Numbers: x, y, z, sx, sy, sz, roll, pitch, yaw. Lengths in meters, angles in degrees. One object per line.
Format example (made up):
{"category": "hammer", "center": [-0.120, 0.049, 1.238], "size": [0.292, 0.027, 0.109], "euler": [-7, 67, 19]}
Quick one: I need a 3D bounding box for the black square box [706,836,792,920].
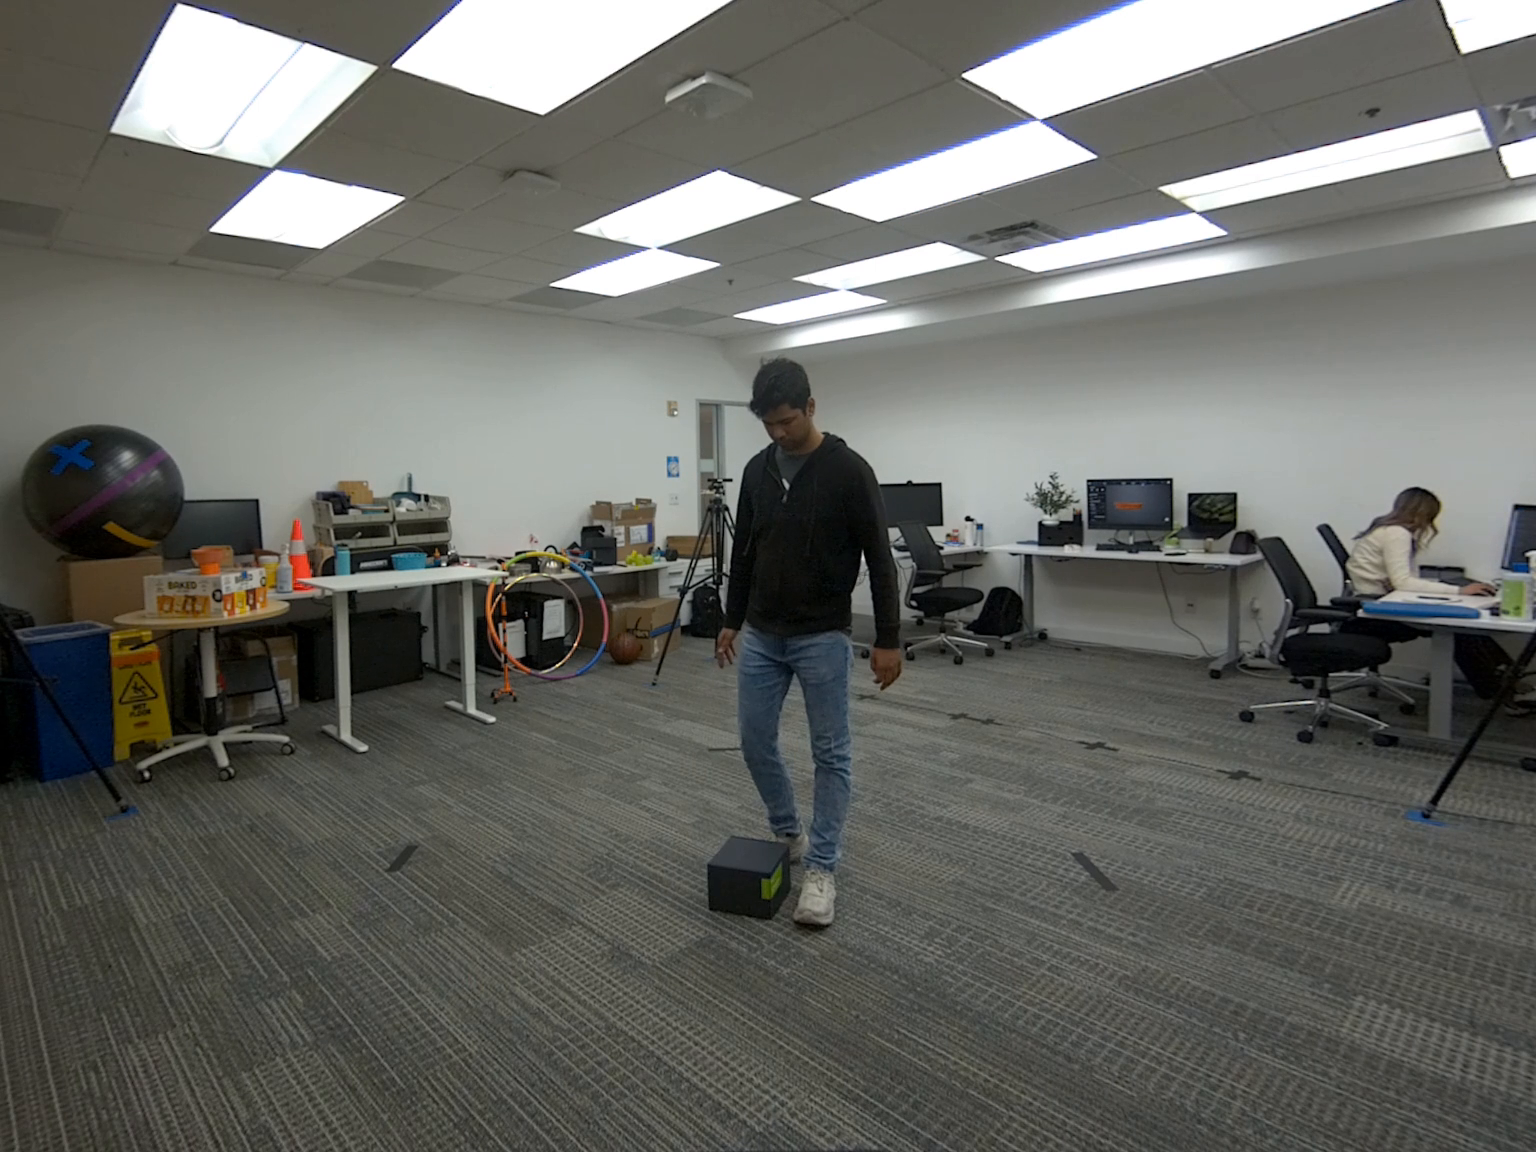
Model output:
{"category": "black square box", "center": [-0.049, 0.994, 2.807], "size": [0.221, 0.155, 0.225], "euler": [1, 6, 16]}
